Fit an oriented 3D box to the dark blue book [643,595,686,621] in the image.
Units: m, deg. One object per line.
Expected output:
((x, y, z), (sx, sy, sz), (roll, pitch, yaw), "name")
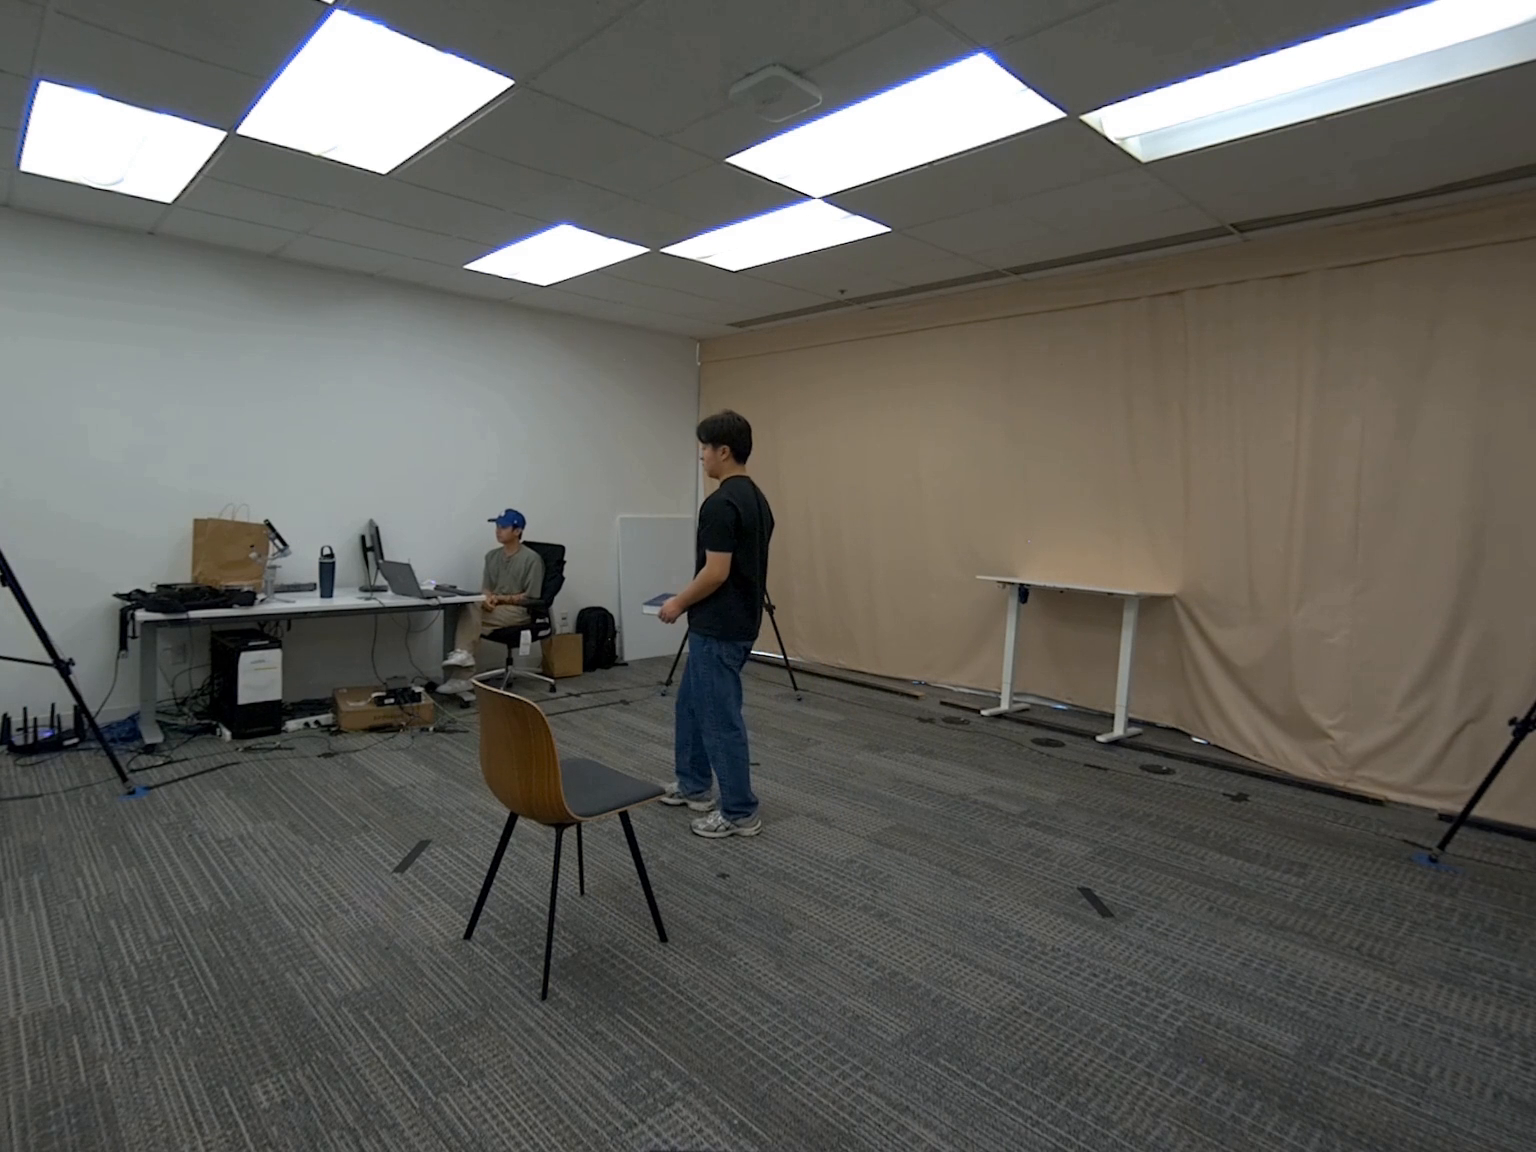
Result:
((-0.413, 0.132, 3.610), (0.165, 0.045, 0.244), (4, 10, 12), "dark blue book")
